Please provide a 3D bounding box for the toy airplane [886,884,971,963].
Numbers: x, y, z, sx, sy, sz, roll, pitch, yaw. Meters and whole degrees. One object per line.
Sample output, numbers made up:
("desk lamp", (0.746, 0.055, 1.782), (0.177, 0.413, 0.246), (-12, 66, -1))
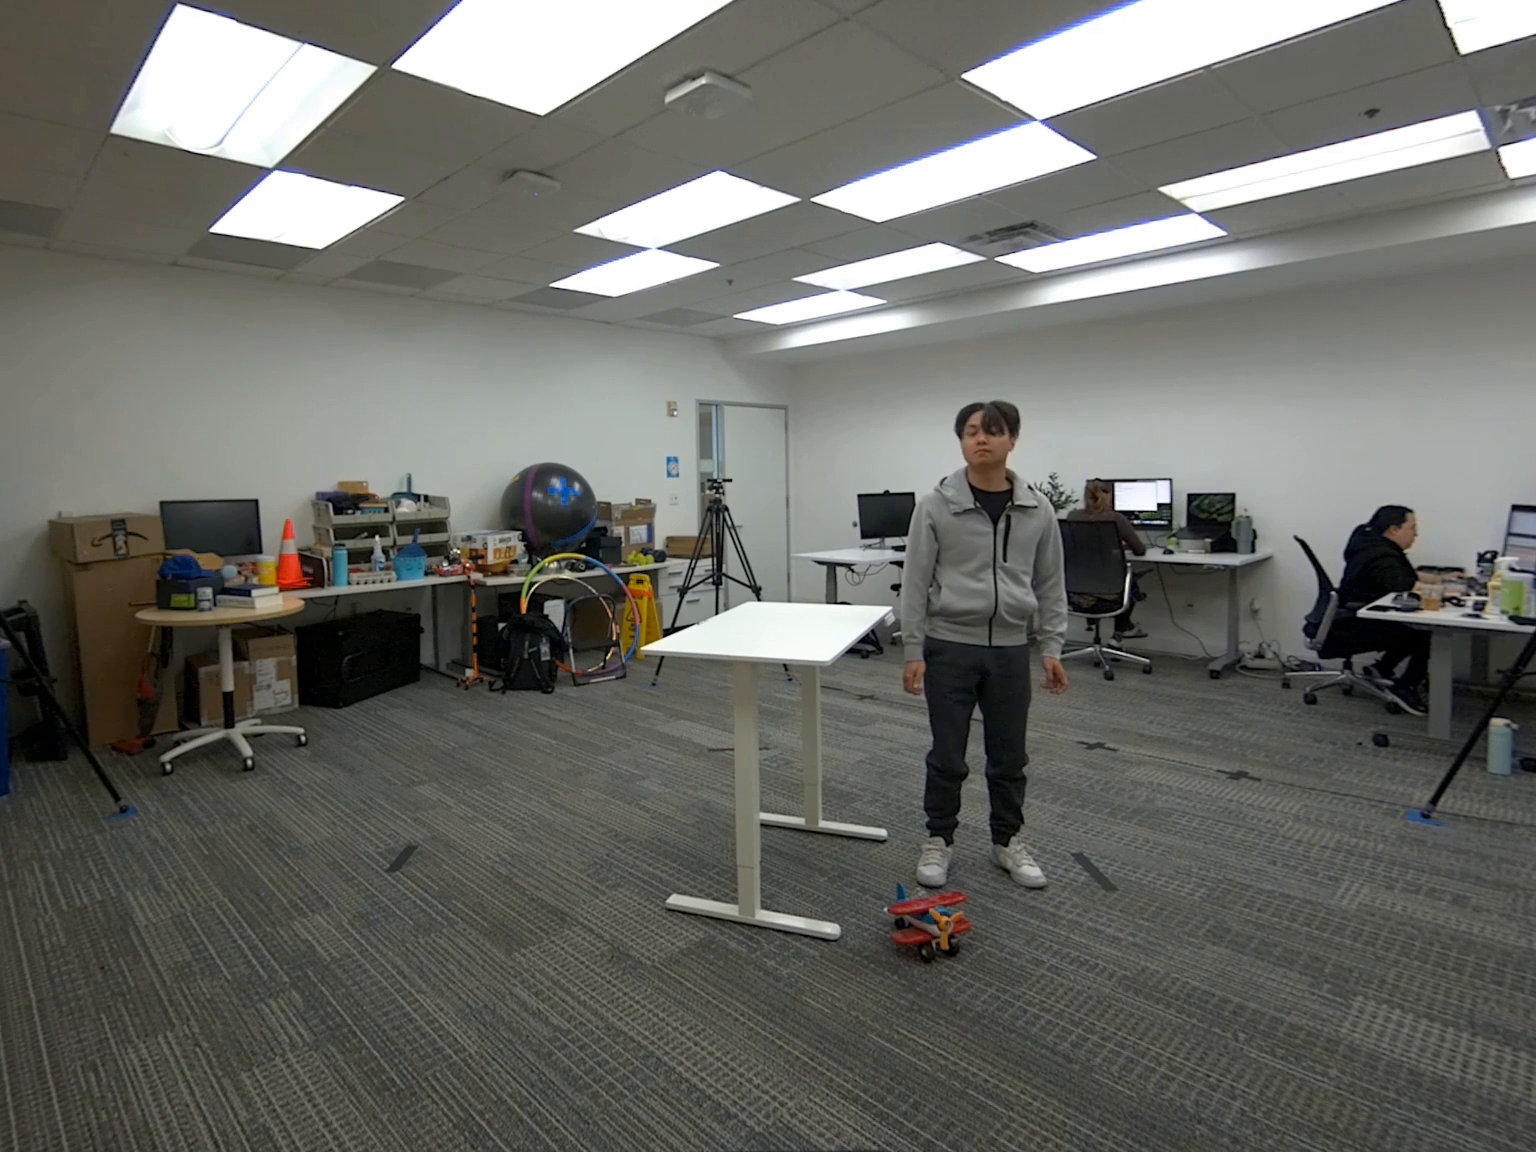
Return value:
("toy airplane", (0.447, 1.025, 2.541), (0.267, 0.156, 0.244), (5, 8, 39))
